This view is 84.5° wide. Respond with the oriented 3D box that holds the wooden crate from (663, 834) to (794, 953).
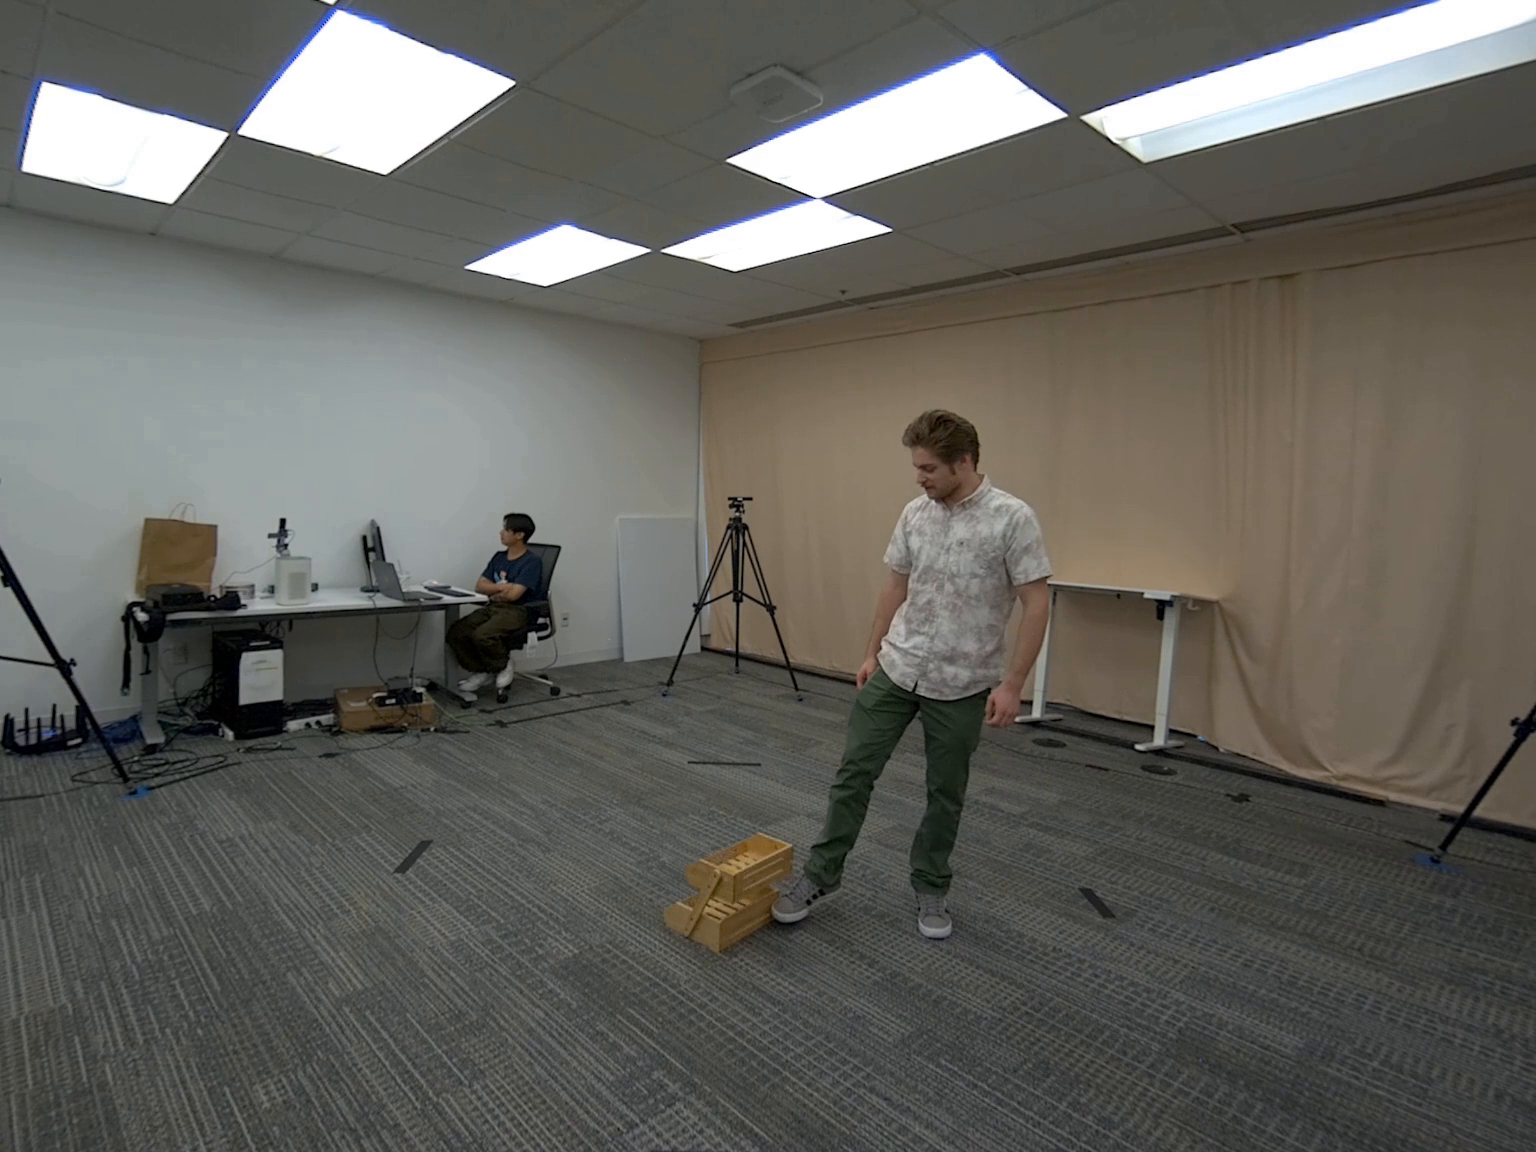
[{"bbox_3d":[-0.137,1.005,2.743,0.309,0.272,0.317,5,5,38],"label":"wooden crate"}]
